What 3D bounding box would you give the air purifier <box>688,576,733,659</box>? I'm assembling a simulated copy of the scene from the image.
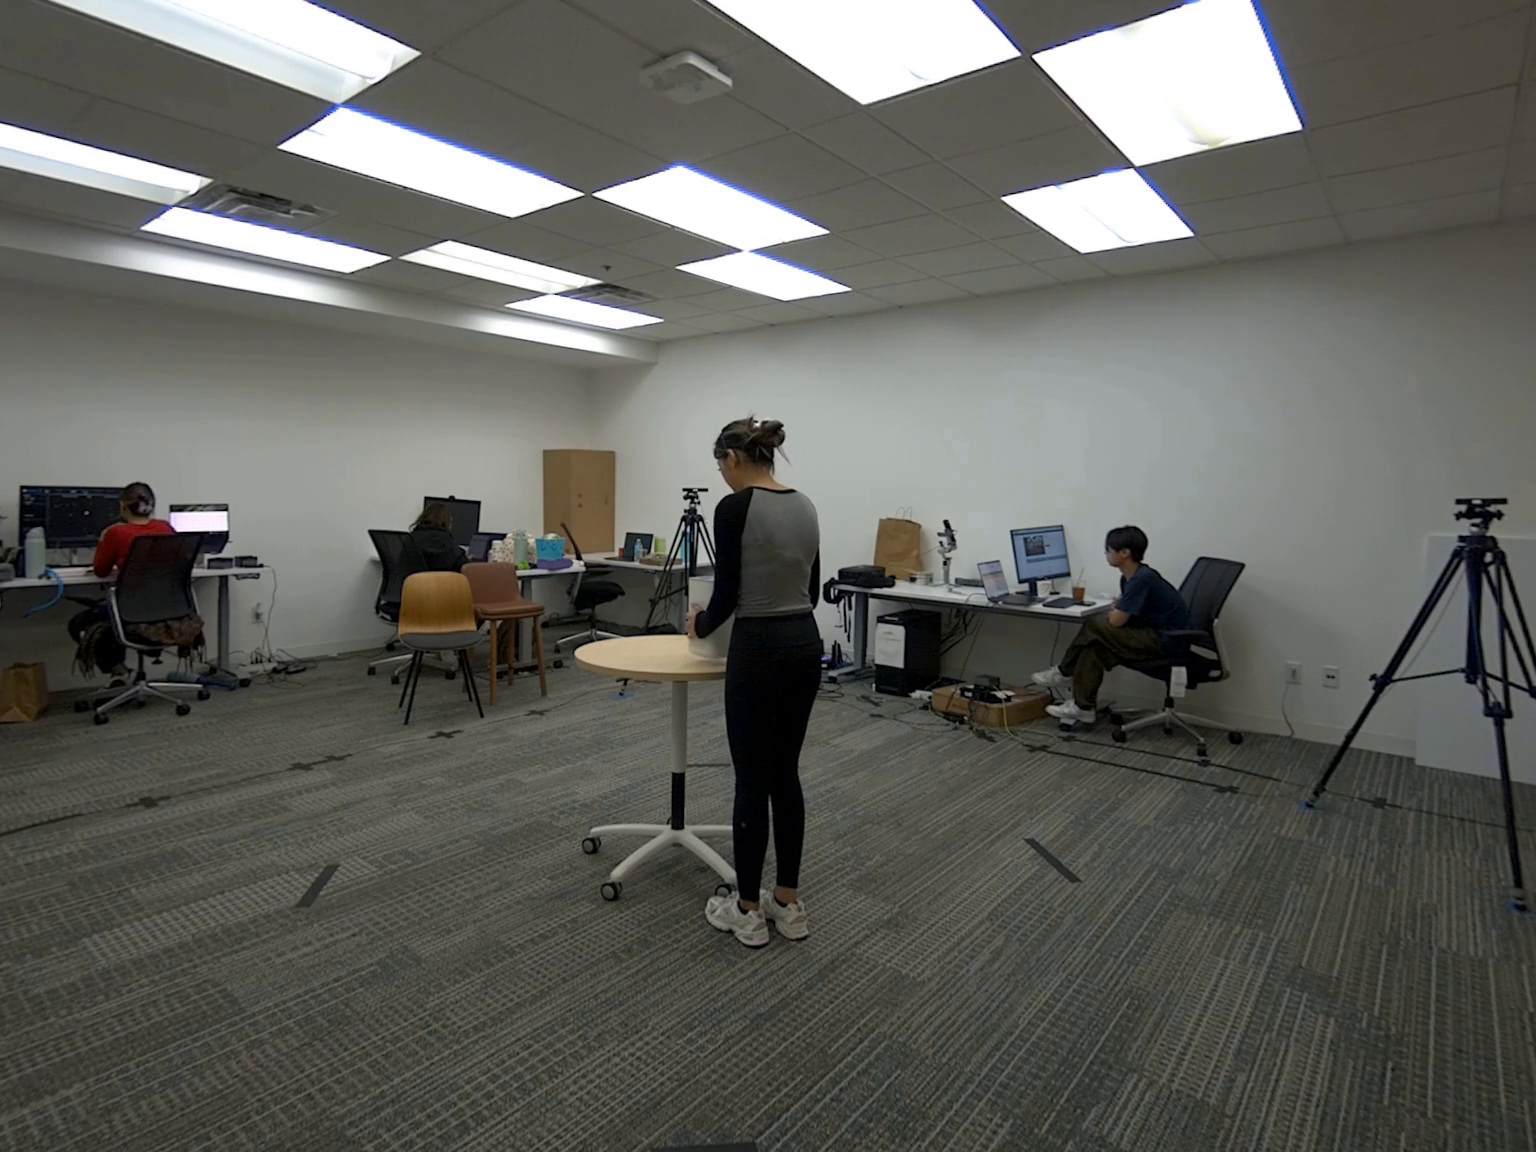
[{"bbox_3d":[-0.183,0.135,2.916,0.166,0.265,0.177,0,2,-41],"label":"air purifier"}]
